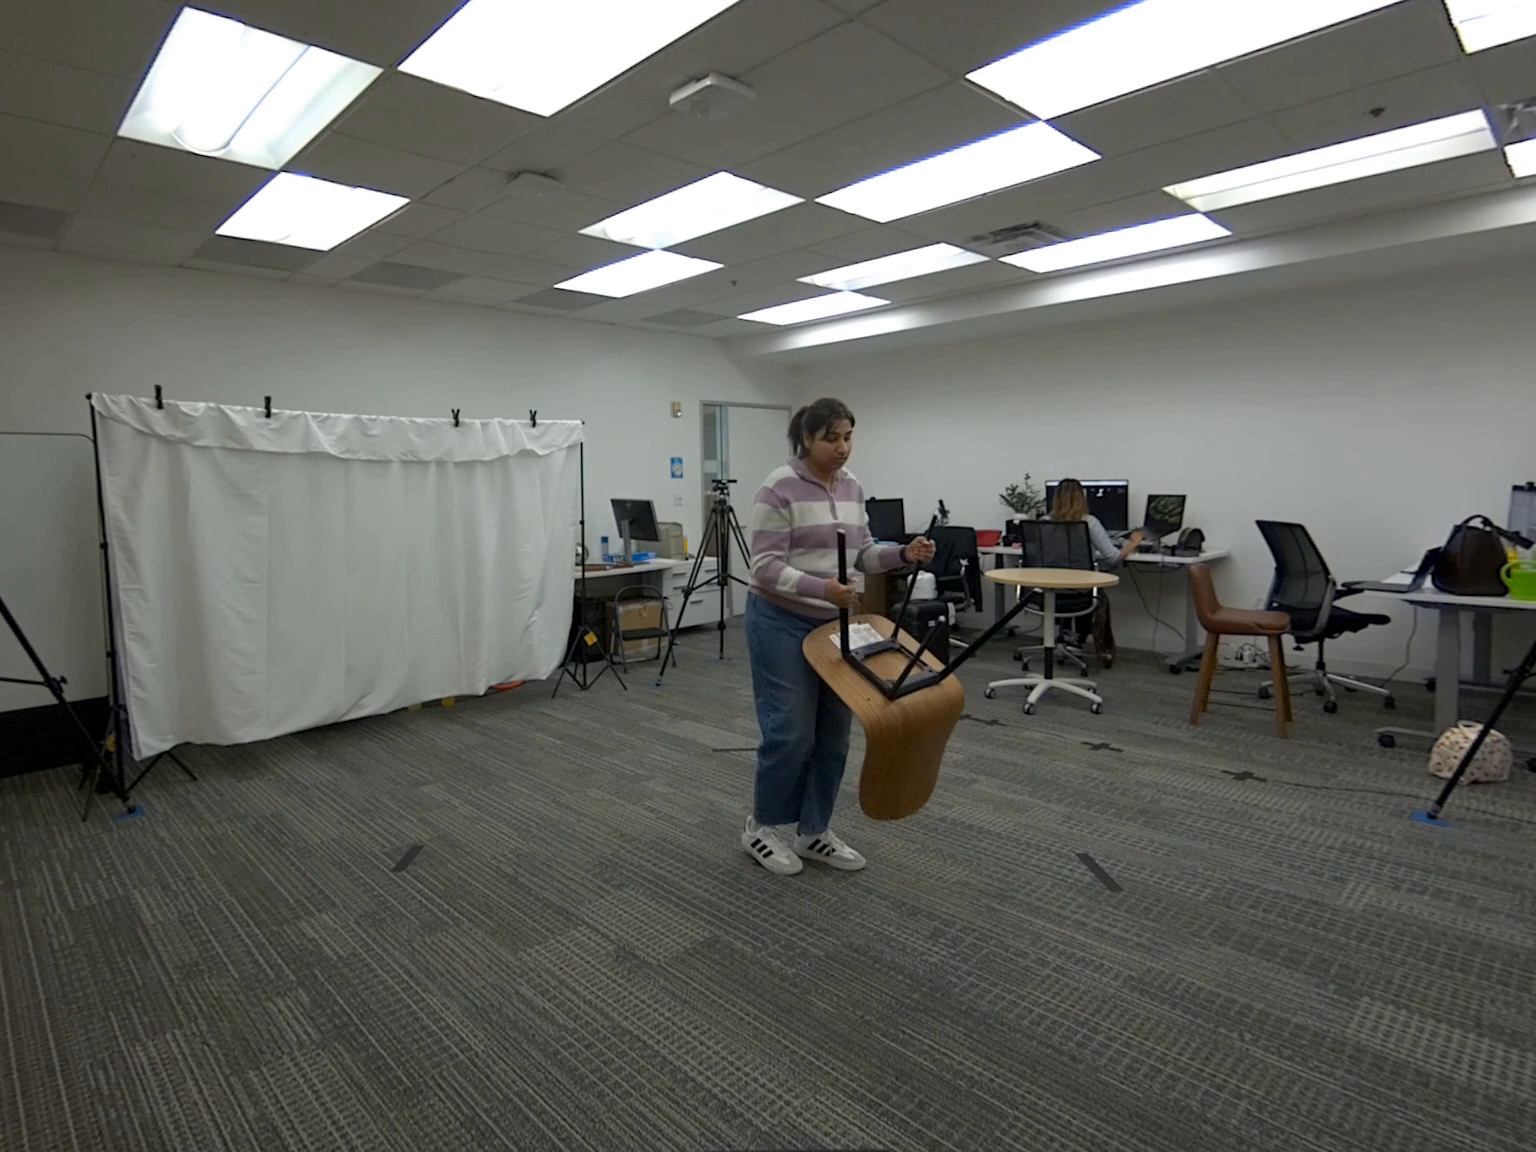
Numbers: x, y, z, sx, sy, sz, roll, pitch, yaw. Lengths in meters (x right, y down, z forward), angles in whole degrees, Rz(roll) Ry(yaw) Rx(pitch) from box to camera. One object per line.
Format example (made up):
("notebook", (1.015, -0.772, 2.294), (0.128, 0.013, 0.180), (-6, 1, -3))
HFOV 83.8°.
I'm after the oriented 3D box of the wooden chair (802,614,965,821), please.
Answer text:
("wooden chair", (0.400, 0.291, 2.816), (0.467, 0.862, 0.544), (-10, 36, -36))
